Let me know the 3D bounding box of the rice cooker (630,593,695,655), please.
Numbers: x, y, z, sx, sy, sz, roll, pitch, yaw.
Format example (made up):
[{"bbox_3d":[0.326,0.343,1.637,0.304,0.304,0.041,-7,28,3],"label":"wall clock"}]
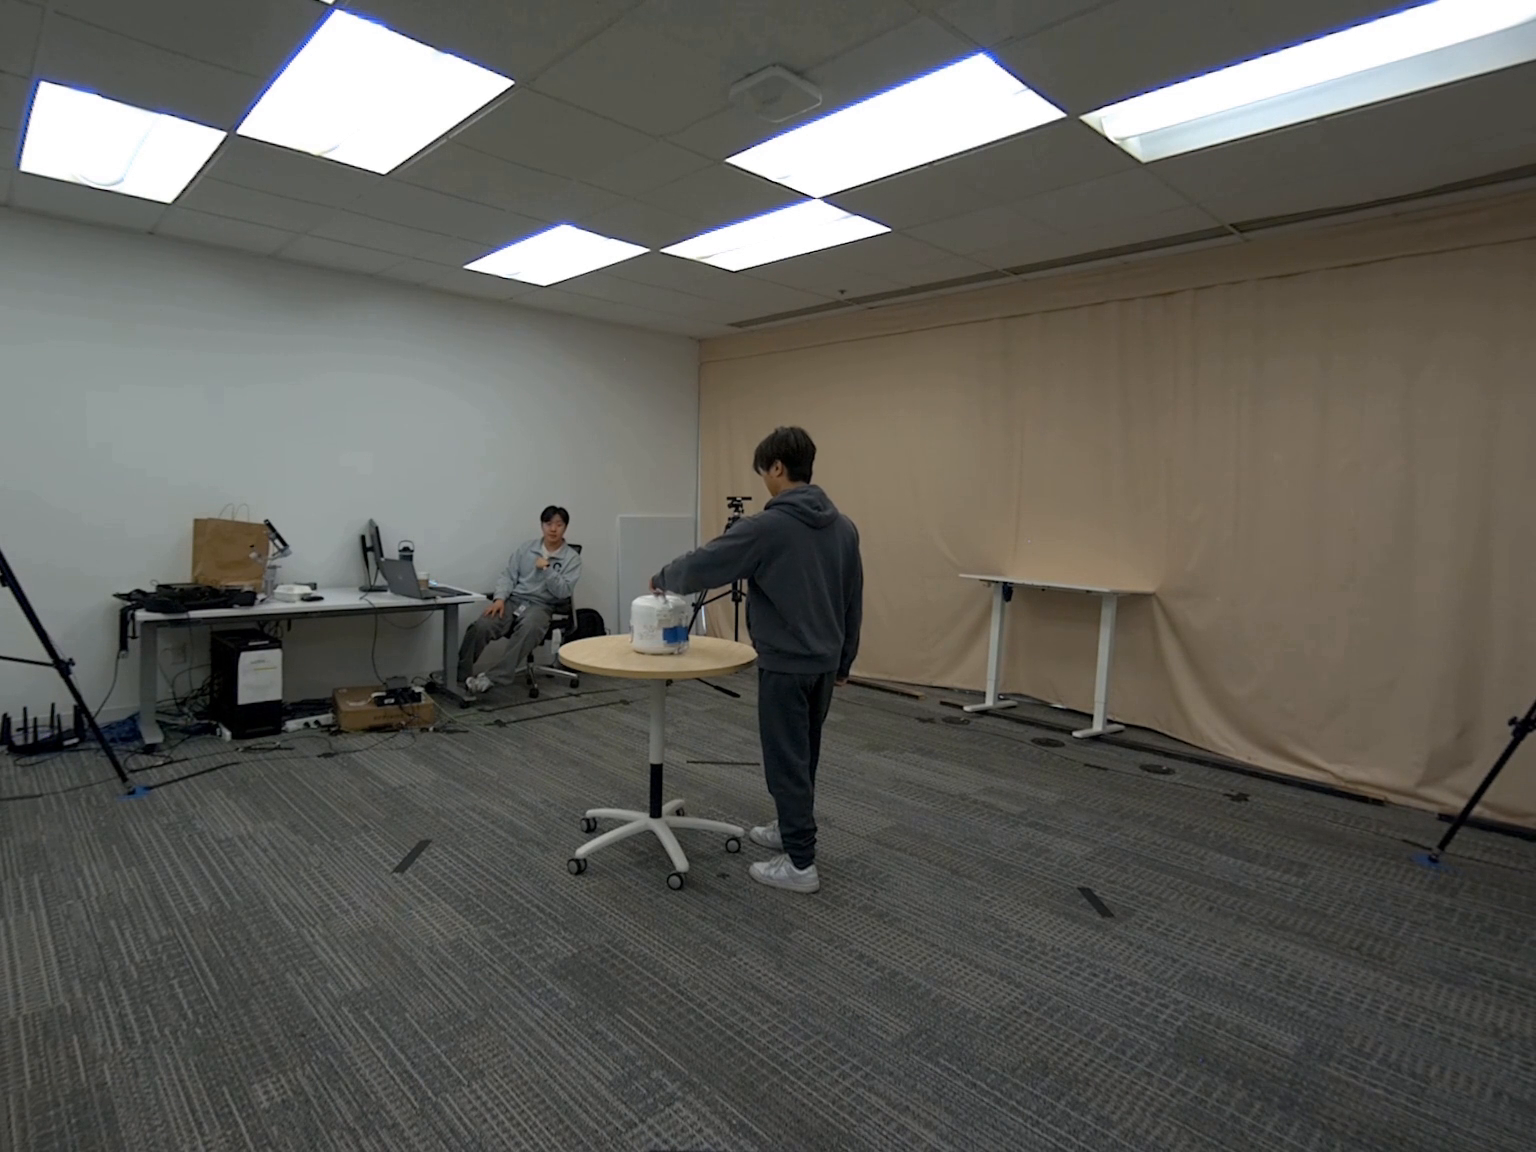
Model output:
[{"bbox_3d":[-0.421,0.173,3.237,0.214,0.232,0.224,2,3,-17],"label":"rice cooker"}]
